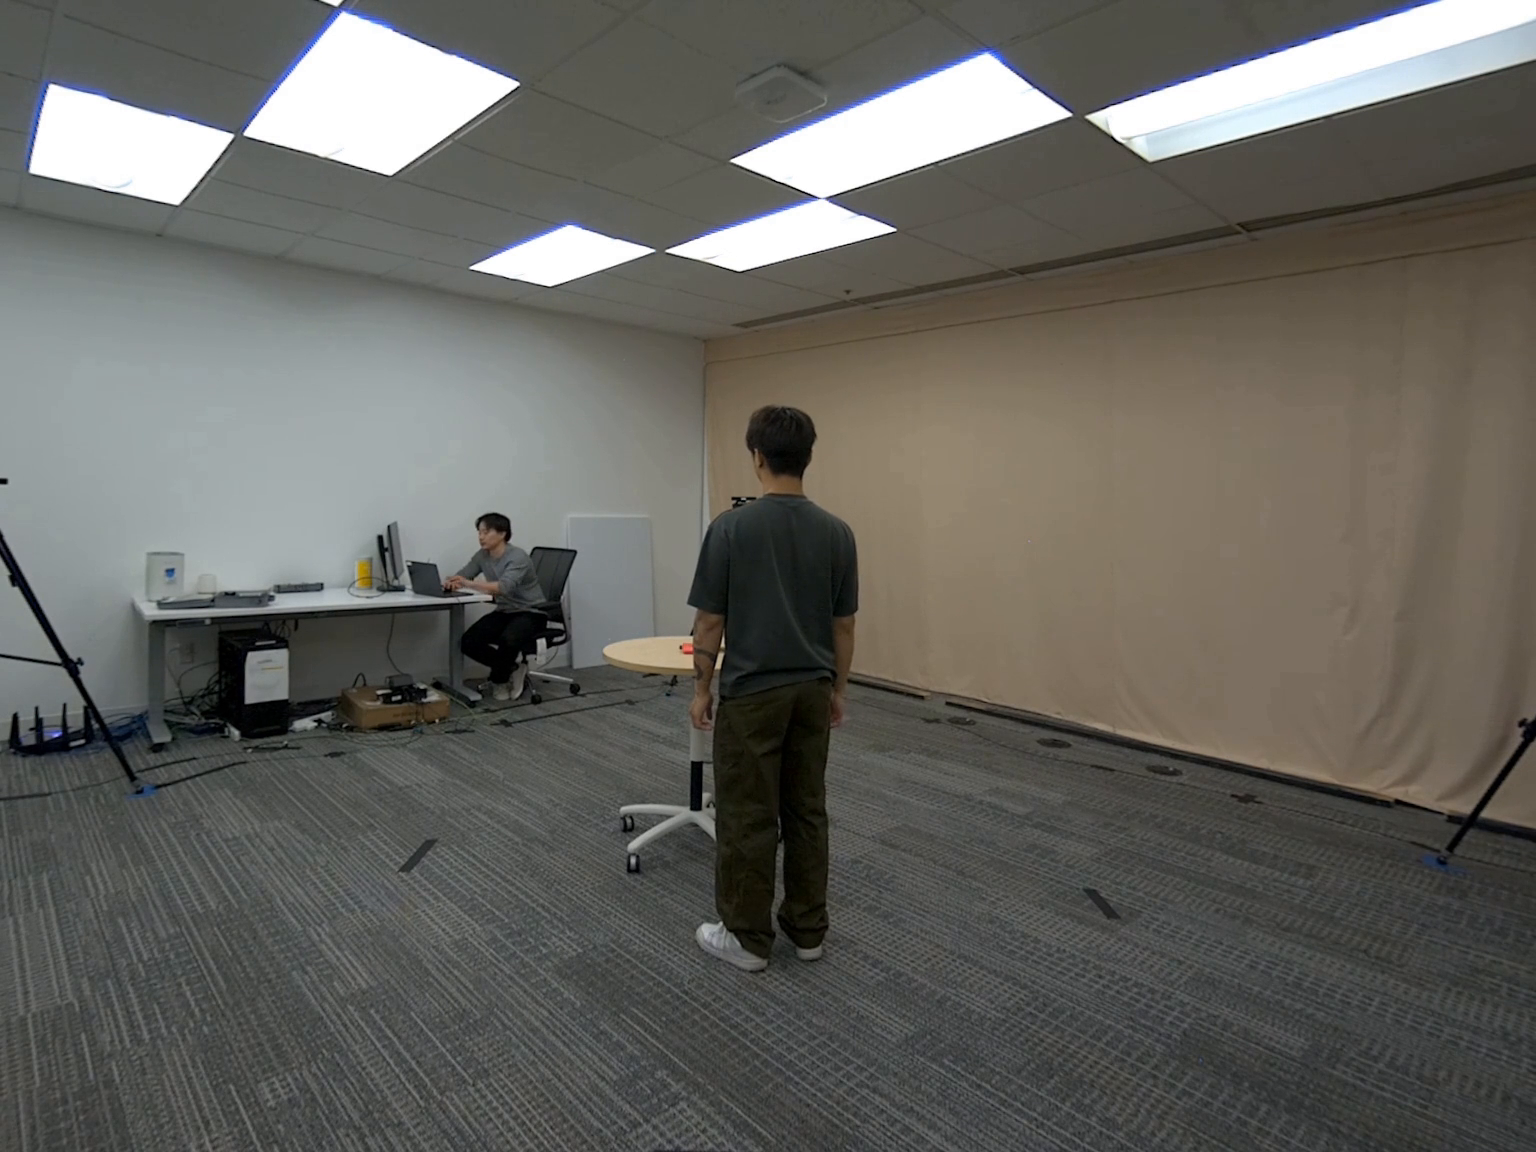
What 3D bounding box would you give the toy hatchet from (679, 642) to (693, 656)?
[{"bbox_3d":[-0.221,0.293,3.295,0.275,0.029,0.129,4,5,21],"label":"toy hatchet"}]
